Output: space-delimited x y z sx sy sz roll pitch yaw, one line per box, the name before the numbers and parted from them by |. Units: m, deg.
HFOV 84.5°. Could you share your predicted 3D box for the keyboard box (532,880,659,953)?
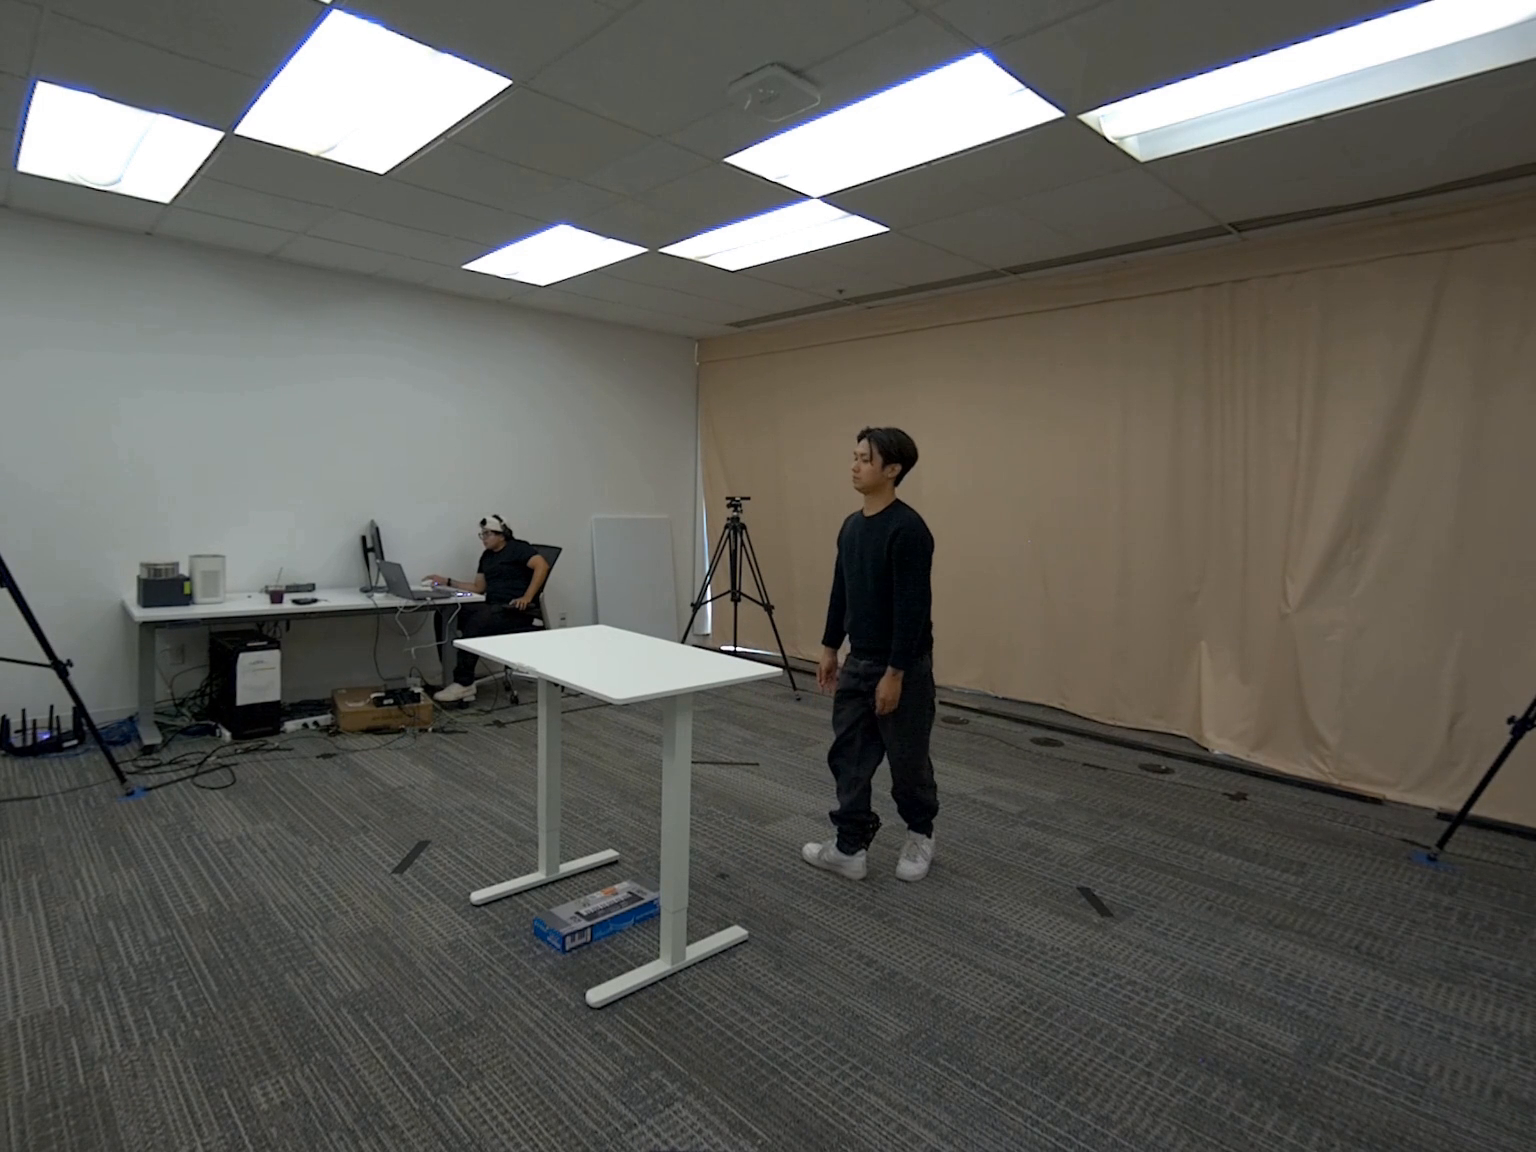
keyboard box | -0.541 1.101 2.756 0.180 0.059 0.427 6 7 44
